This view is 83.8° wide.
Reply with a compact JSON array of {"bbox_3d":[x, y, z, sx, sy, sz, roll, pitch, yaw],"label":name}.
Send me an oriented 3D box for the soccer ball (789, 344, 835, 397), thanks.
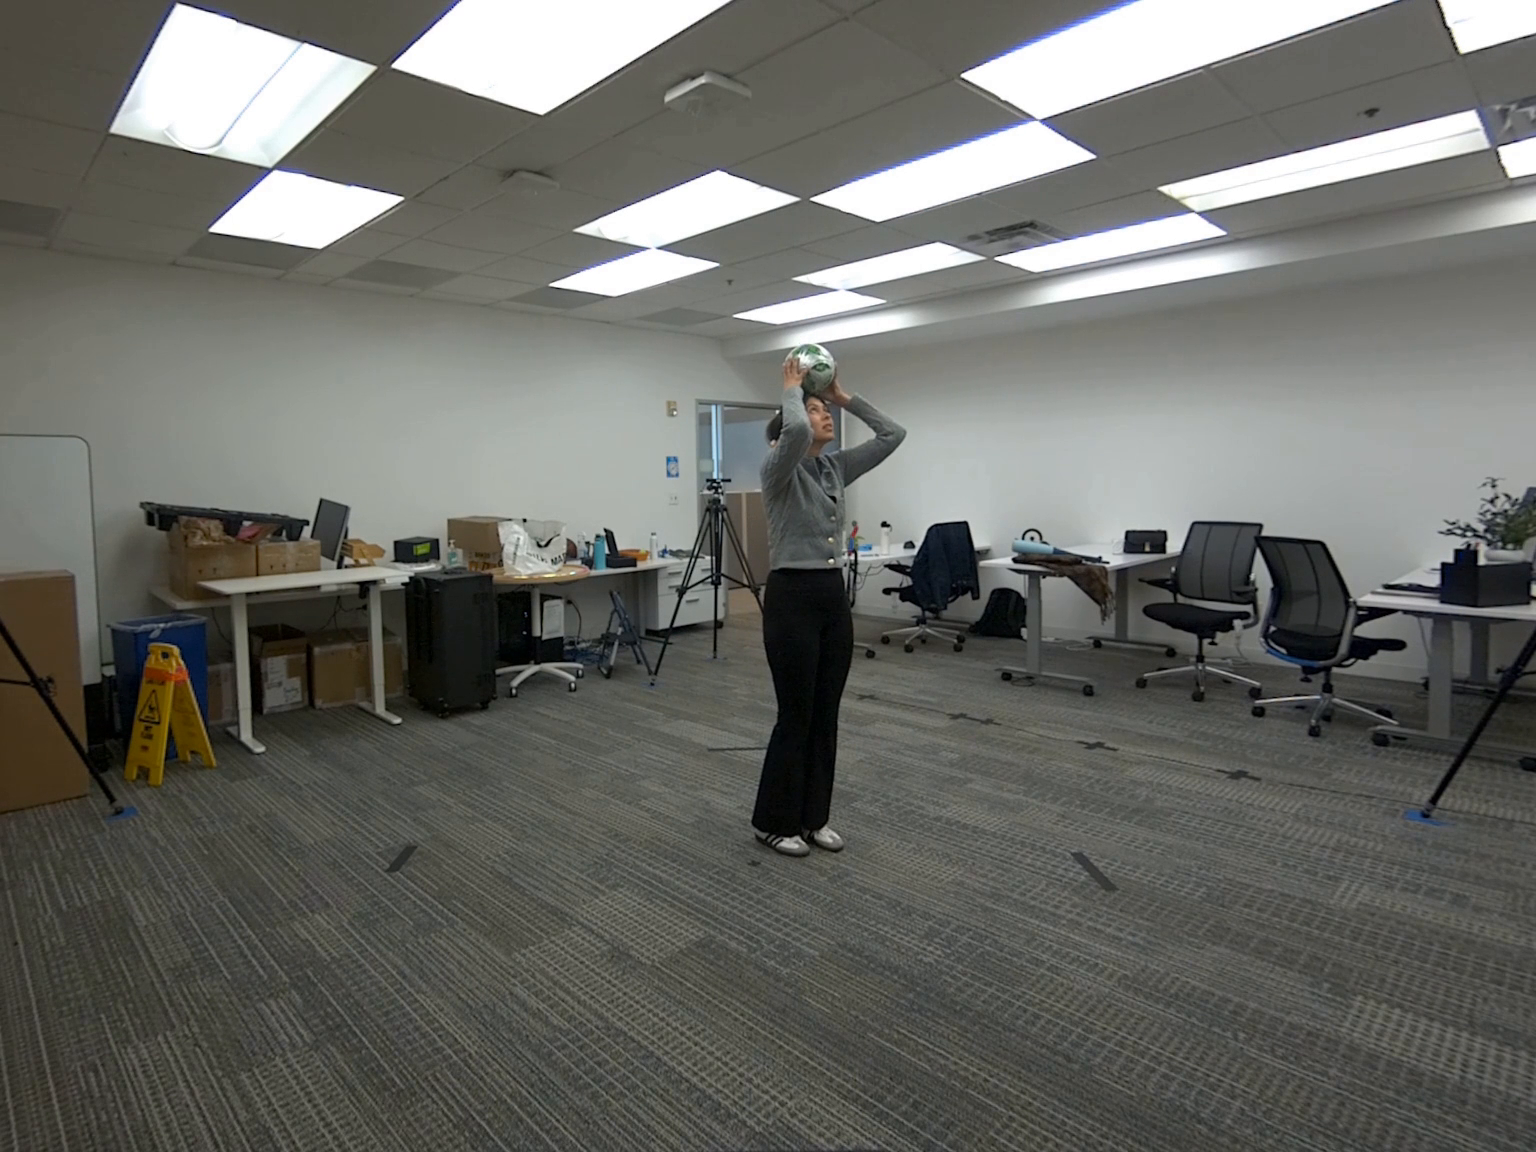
[{"bbox_3d":[0.152,-0.760,3.153,0.187,0.187,0.188,-1,5,-2],"label":"soccer ball"}]
